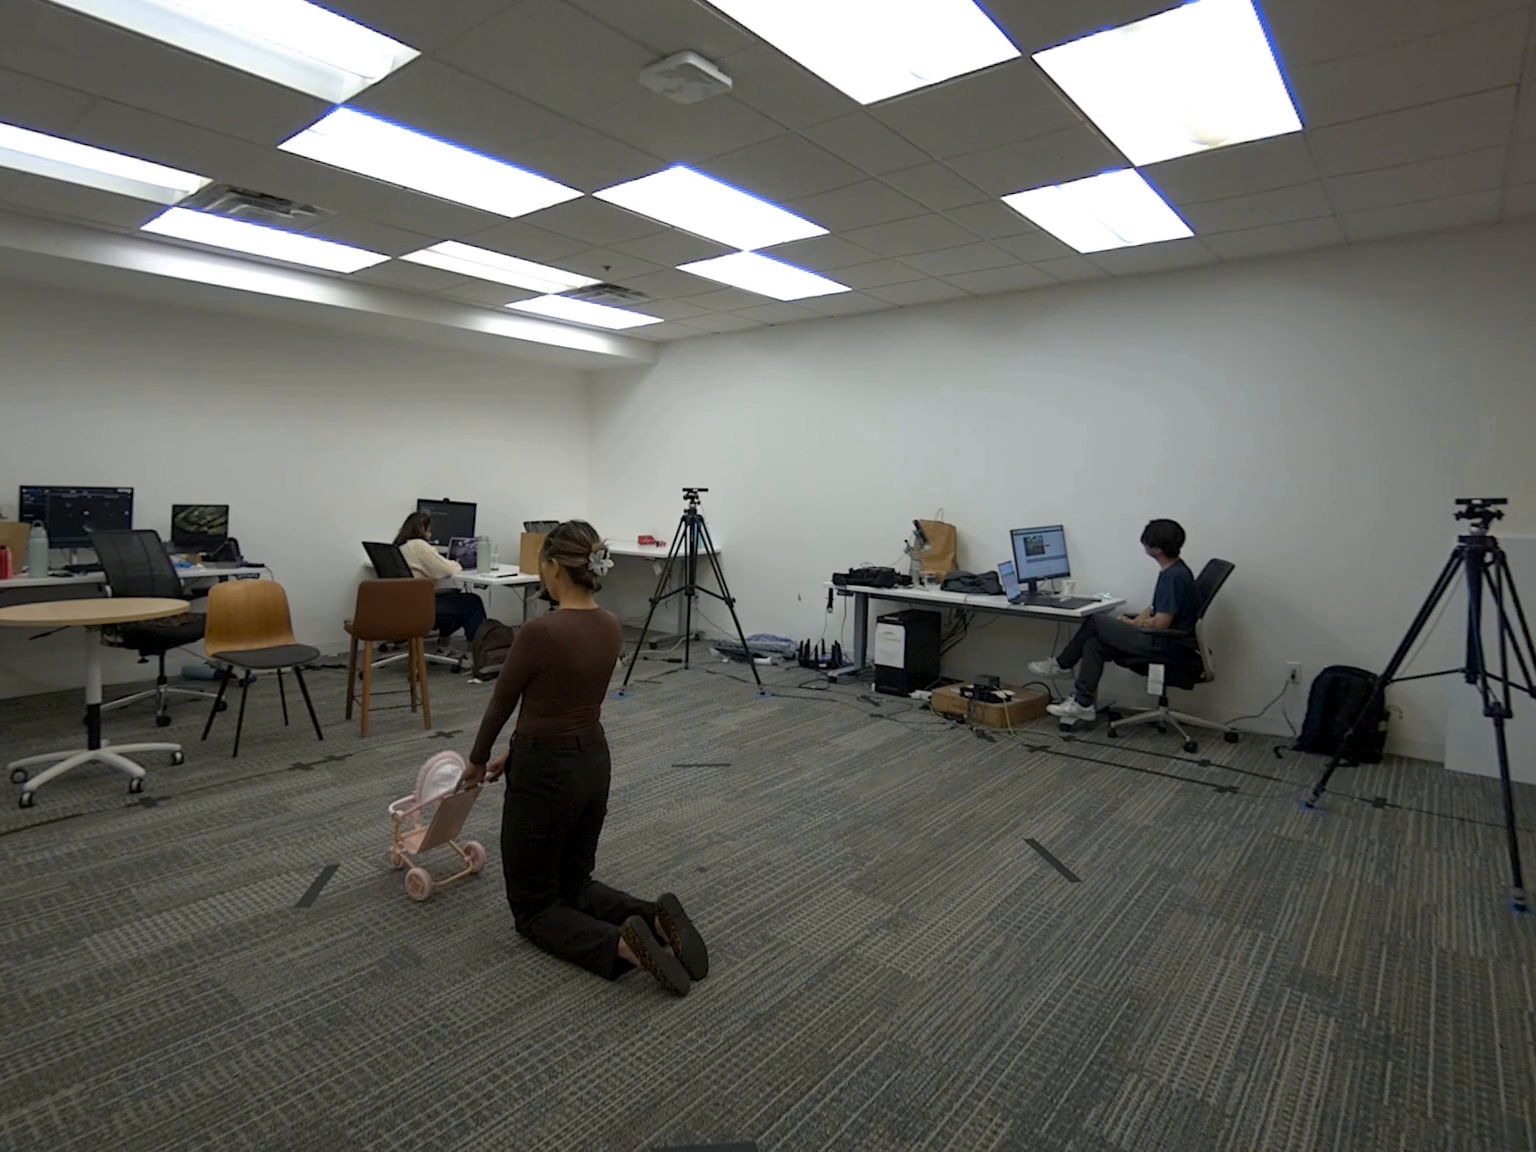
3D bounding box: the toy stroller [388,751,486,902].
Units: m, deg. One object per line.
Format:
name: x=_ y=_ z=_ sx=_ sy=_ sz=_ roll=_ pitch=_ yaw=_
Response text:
toy stroller: x=-1.171 y=0.845 z=2.970 sx=0.354 sy=0.531 sz=0.273 roll=24 pitch=14 yaw=30
